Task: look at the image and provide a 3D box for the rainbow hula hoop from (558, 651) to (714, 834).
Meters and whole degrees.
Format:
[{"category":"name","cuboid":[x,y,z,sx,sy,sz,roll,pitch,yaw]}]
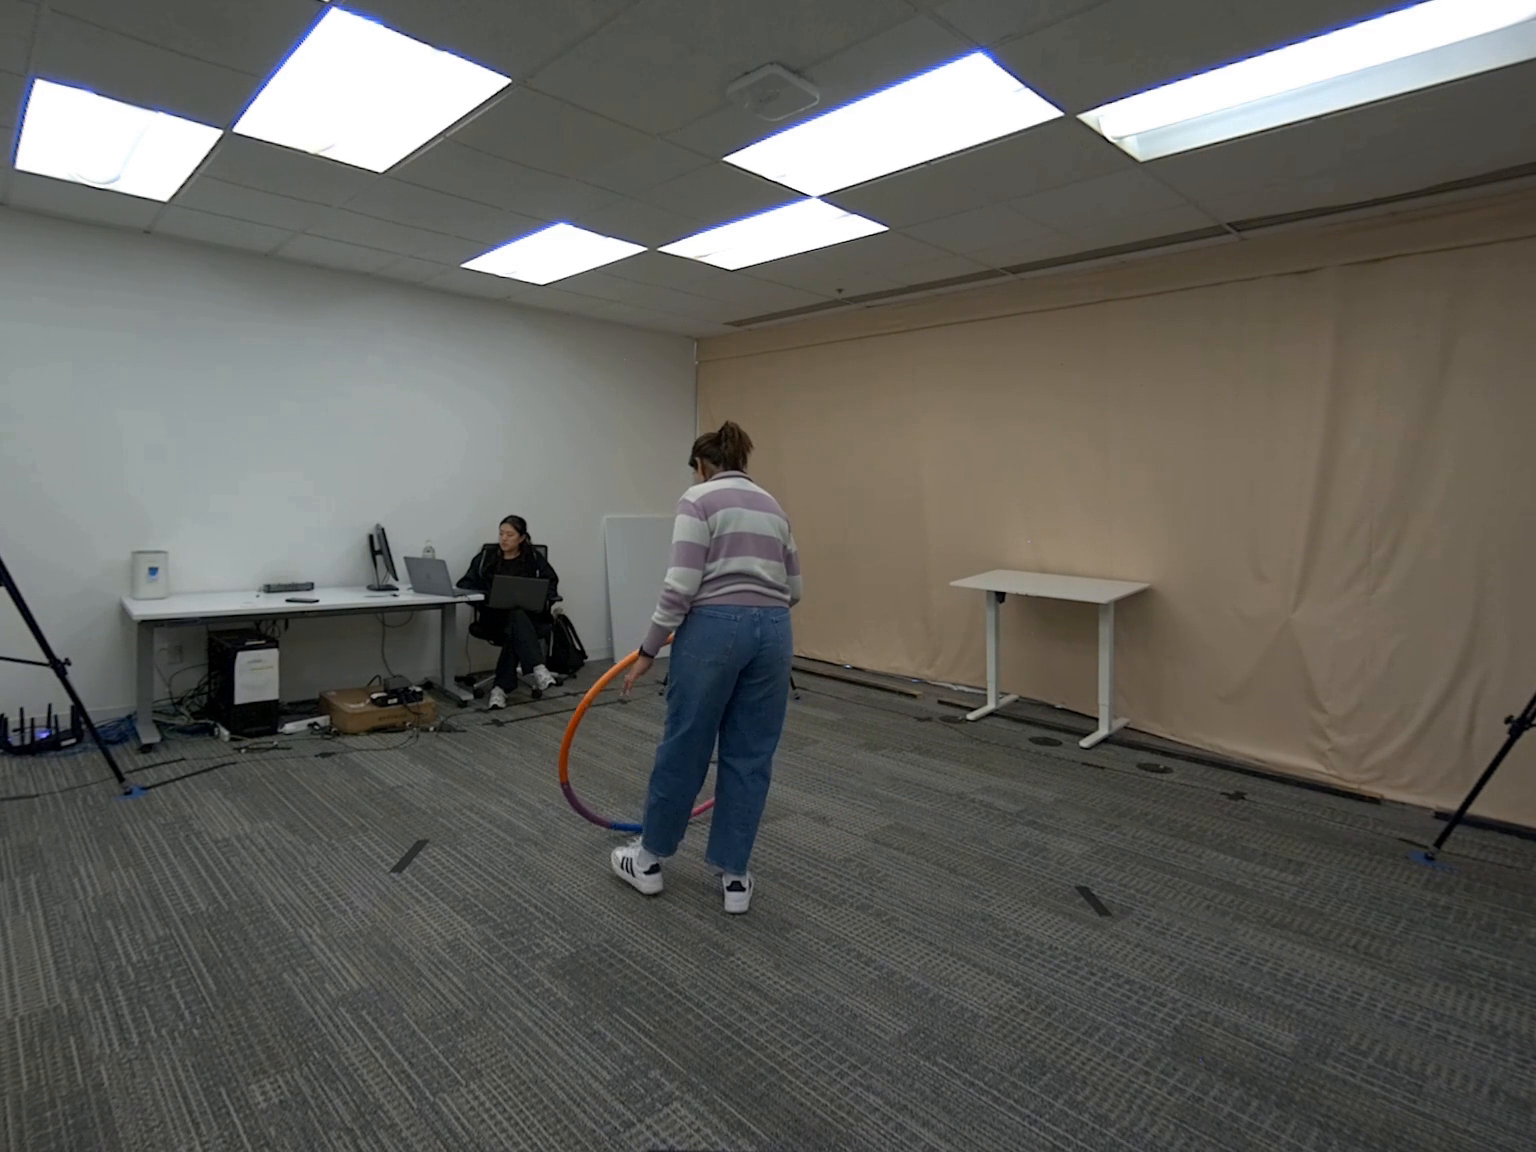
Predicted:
[{"category":"rainbow hula hoop","cuboid":[-0.356,0.631,3.350,0.965,0.974,0.053,-1,28,-33]}]
